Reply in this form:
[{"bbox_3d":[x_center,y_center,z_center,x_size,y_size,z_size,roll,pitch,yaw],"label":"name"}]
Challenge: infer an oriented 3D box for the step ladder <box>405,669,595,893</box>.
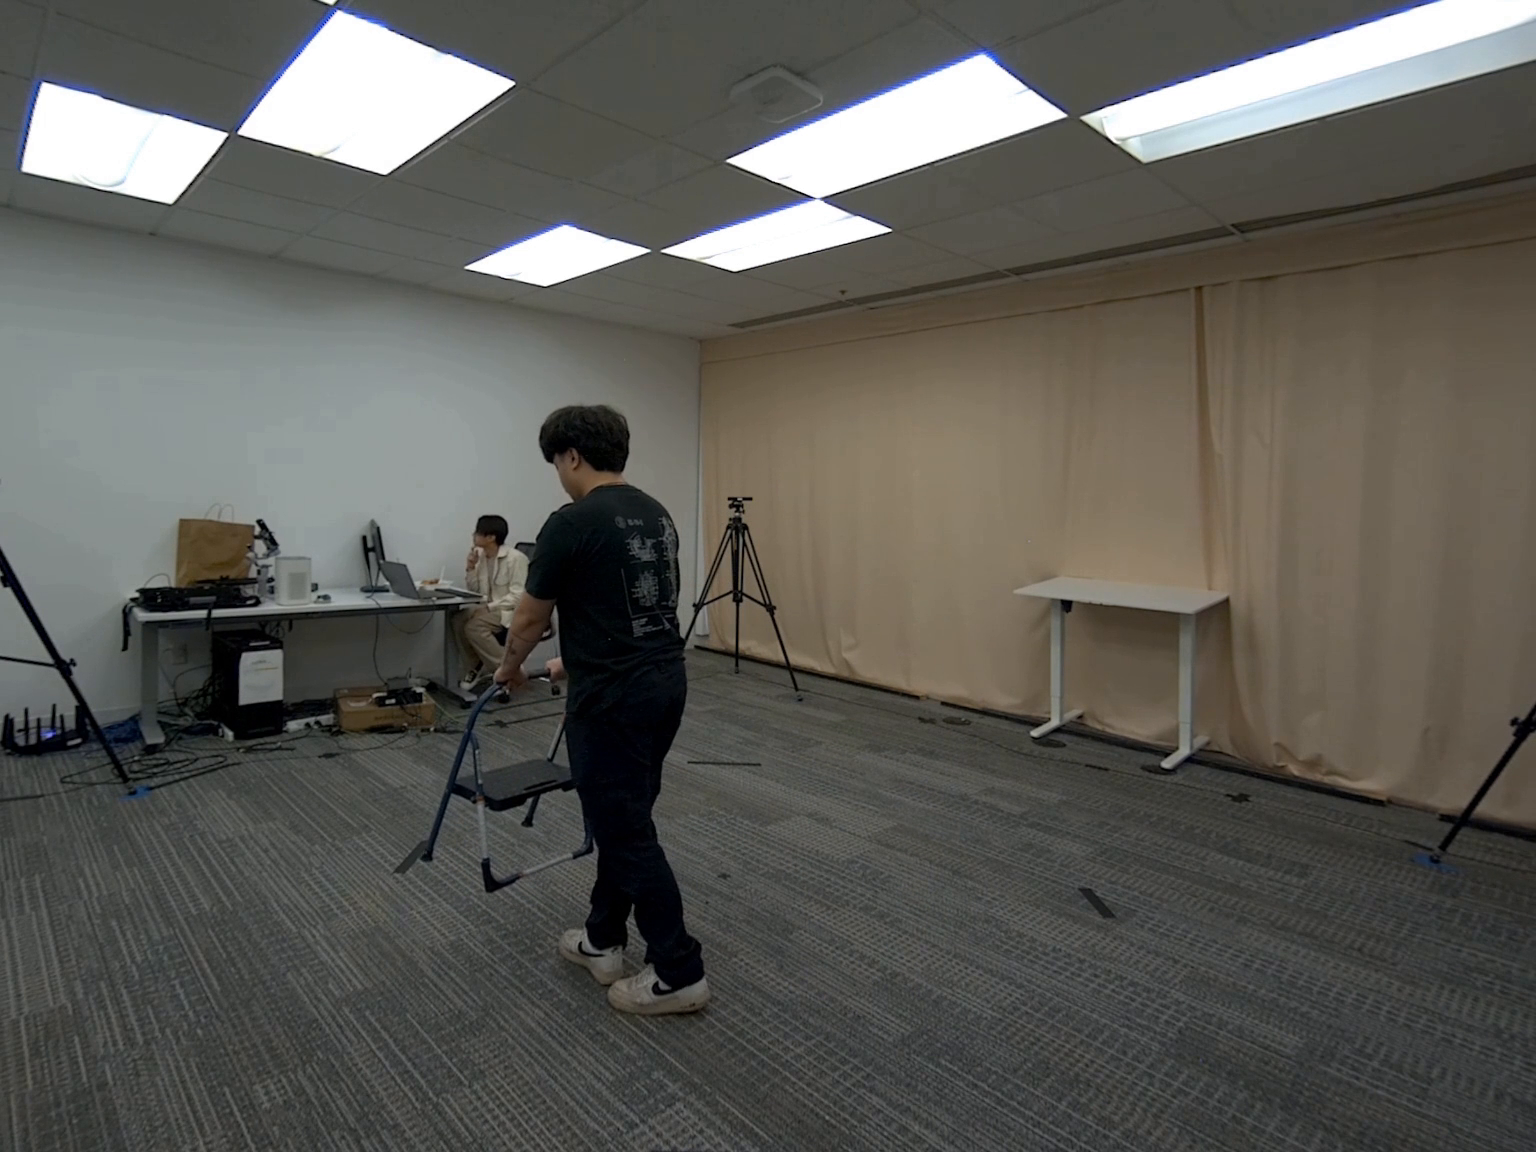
[{"bbox_3d":[-0.806,0.595,2.653,0.358,0.605,0.421,6,4,35],"label":"step ladder"}]
